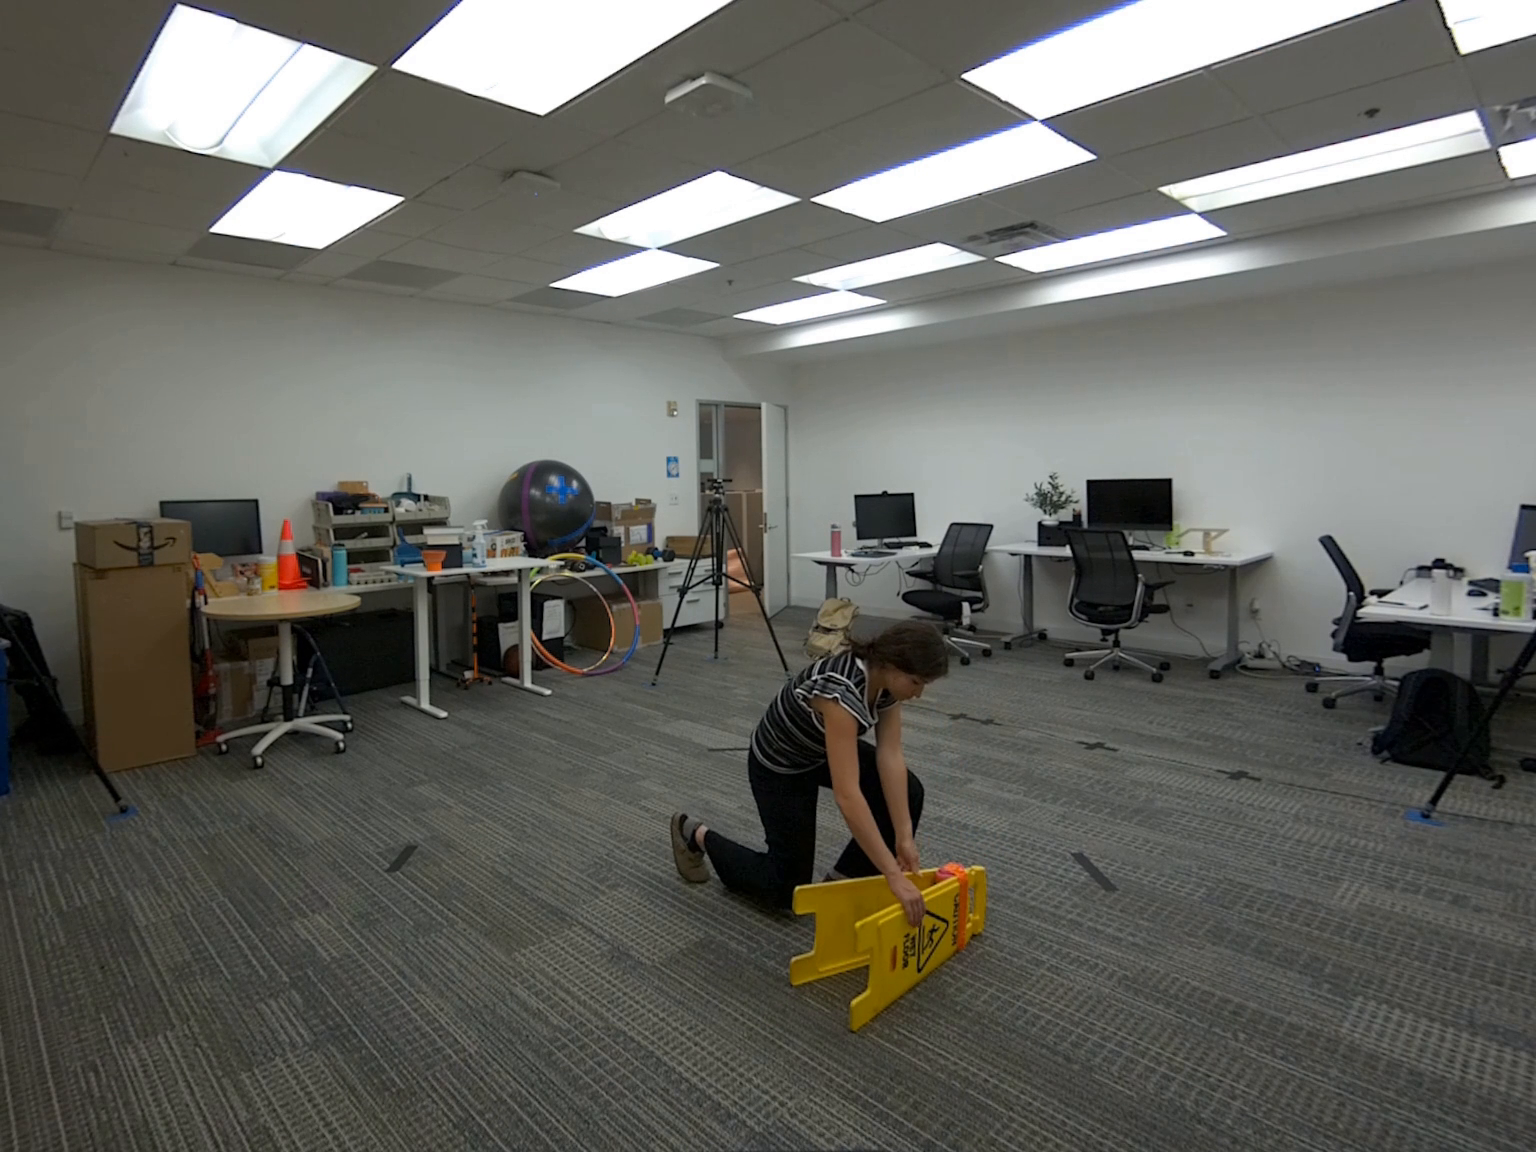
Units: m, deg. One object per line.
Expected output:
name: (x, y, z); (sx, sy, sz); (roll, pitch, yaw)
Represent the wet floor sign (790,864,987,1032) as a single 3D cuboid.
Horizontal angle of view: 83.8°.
wet floor sign: (0.406, 0.992, 2.427); (0.629, 0.281, 0.298); (-2, 6, -35)
